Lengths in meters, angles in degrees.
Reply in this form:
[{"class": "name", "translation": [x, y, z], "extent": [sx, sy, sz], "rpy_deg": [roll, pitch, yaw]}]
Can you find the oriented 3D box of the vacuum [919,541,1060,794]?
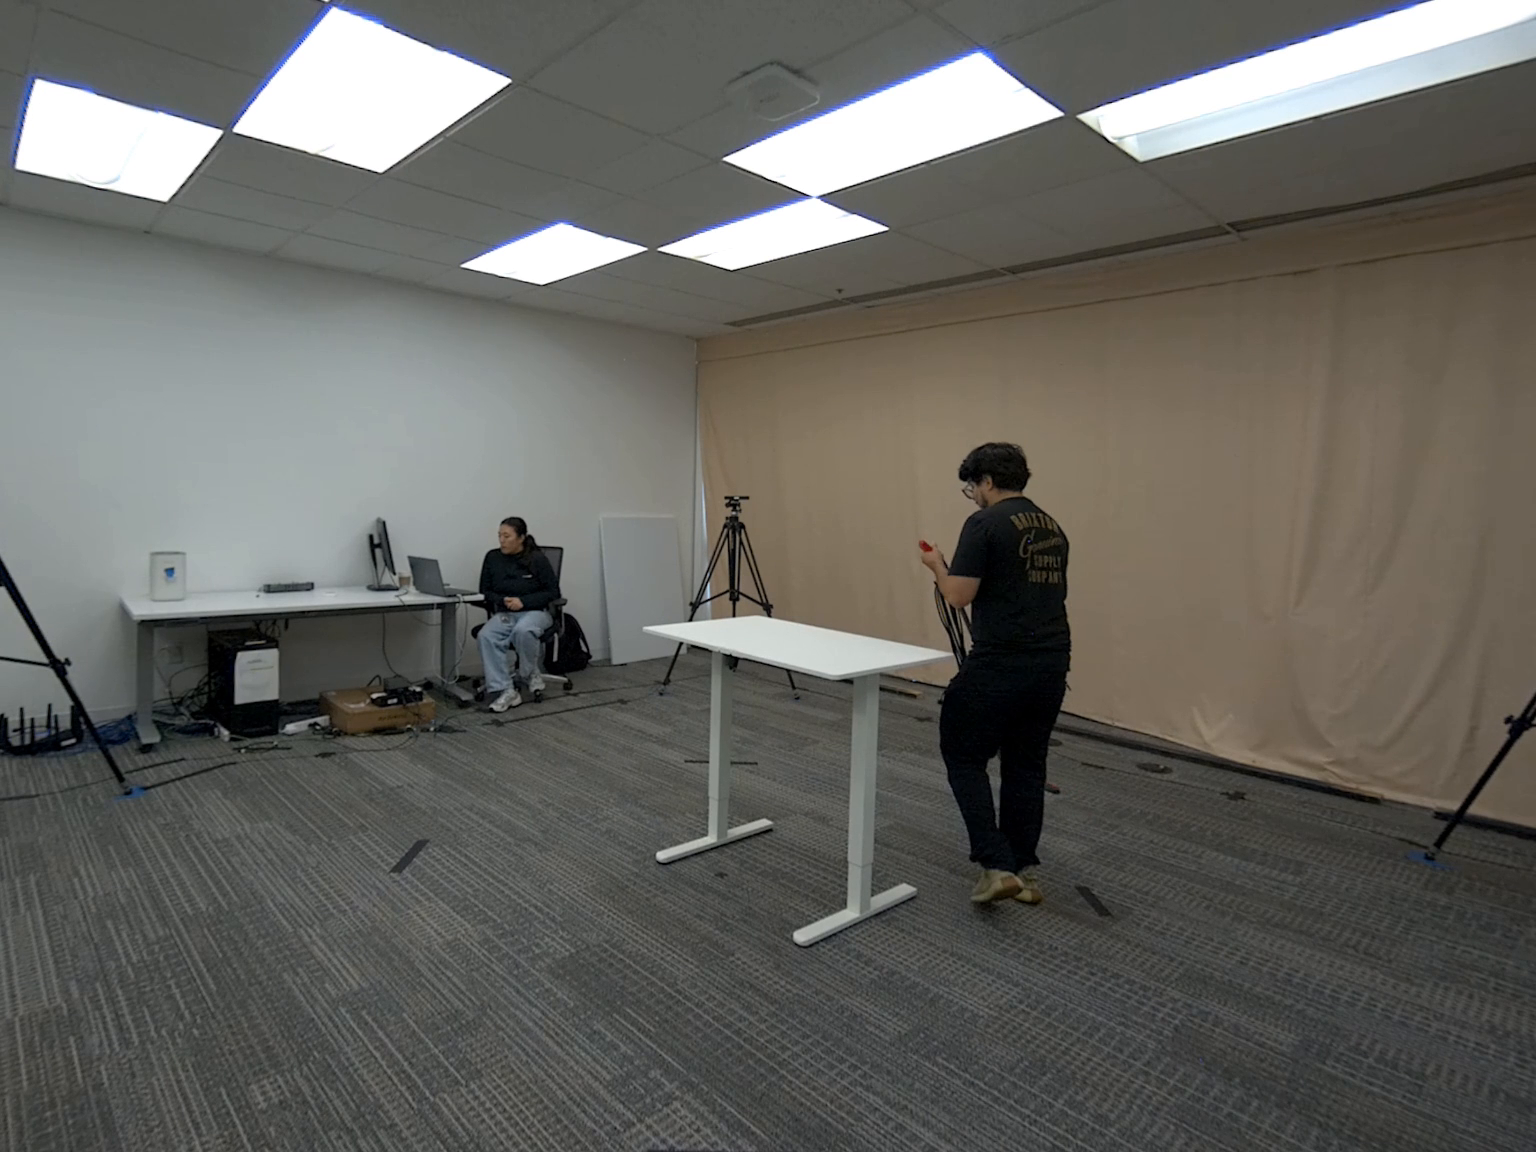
[{"class": "vacuum", "translation": [0.782, 0.356, 3.228], "extent": [0.143, 1.039, 0.256], "rpy_deg": [-31, 9, -18]}]
